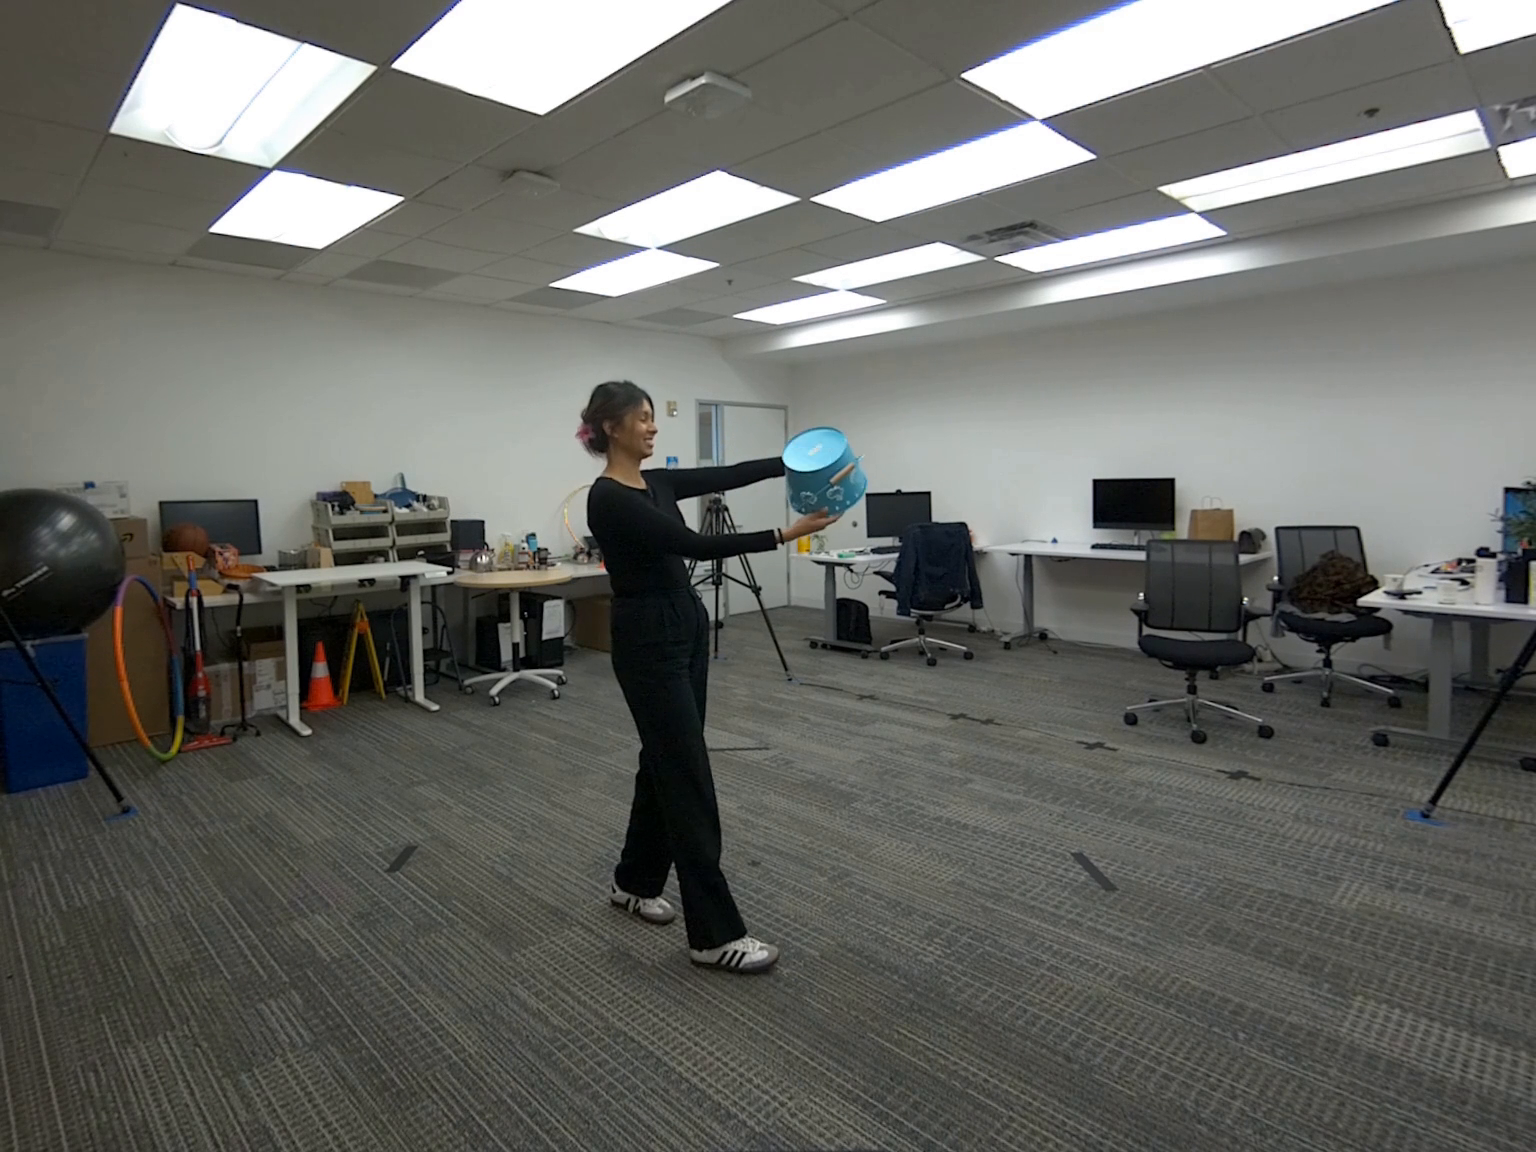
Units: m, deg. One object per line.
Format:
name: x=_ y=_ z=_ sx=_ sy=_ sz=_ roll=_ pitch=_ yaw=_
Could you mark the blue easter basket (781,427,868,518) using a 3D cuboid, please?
blue easter basket: x=0.153 y=-0.299 z=2.374 sx=0.246 sy=0.150 sz=0.250 roll=-14 pitch=45 yaw=12
